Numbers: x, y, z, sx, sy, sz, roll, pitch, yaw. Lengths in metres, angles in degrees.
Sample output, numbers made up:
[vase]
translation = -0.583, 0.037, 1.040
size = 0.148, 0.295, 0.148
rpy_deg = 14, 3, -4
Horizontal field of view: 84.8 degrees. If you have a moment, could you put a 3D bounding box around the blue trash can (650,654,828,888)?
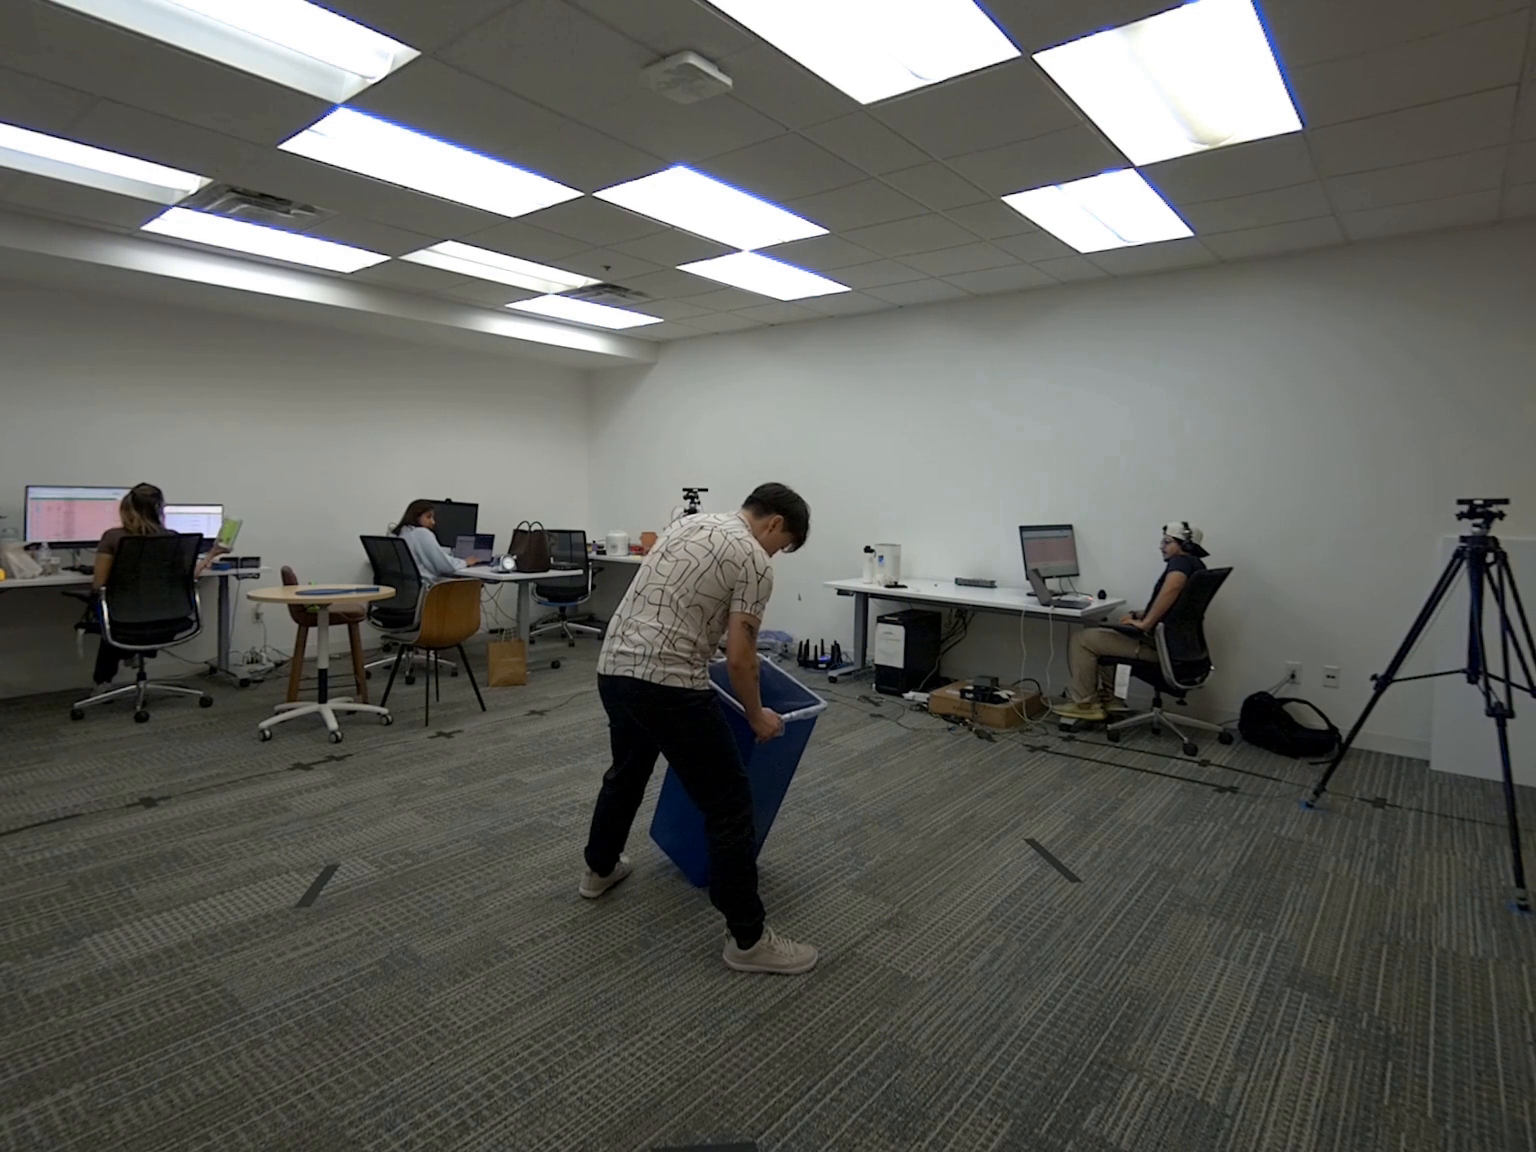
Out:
[blue trash can]
translation = -0.144, 0.690, 3.045
size = 0.393, 0.706, 0.363
rpy_deg = 32, 23, 35
